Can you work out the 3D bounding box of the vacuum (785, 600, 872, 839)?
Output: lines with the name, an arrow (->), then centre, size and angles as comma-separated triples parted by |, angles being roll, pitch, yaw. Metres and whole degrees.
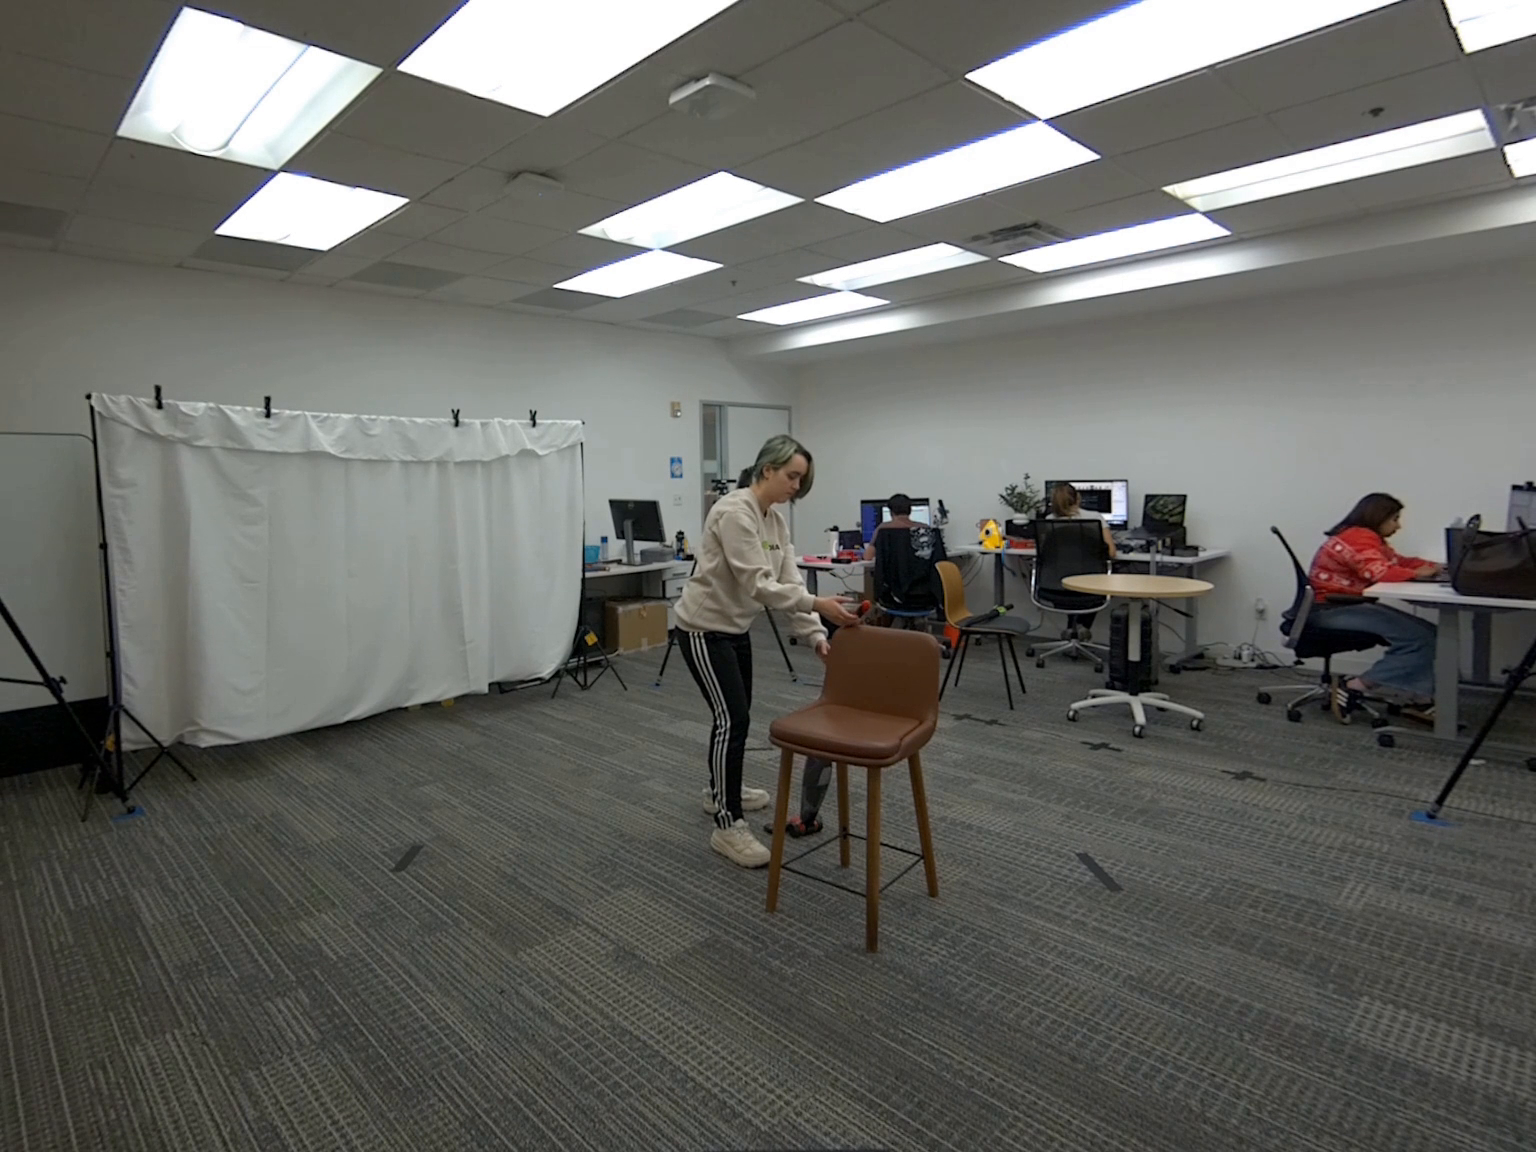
vacuum -> 0.234, 0.551, 3.203 | 0.246, 1.034, 0.150 | -3, 28, -34
